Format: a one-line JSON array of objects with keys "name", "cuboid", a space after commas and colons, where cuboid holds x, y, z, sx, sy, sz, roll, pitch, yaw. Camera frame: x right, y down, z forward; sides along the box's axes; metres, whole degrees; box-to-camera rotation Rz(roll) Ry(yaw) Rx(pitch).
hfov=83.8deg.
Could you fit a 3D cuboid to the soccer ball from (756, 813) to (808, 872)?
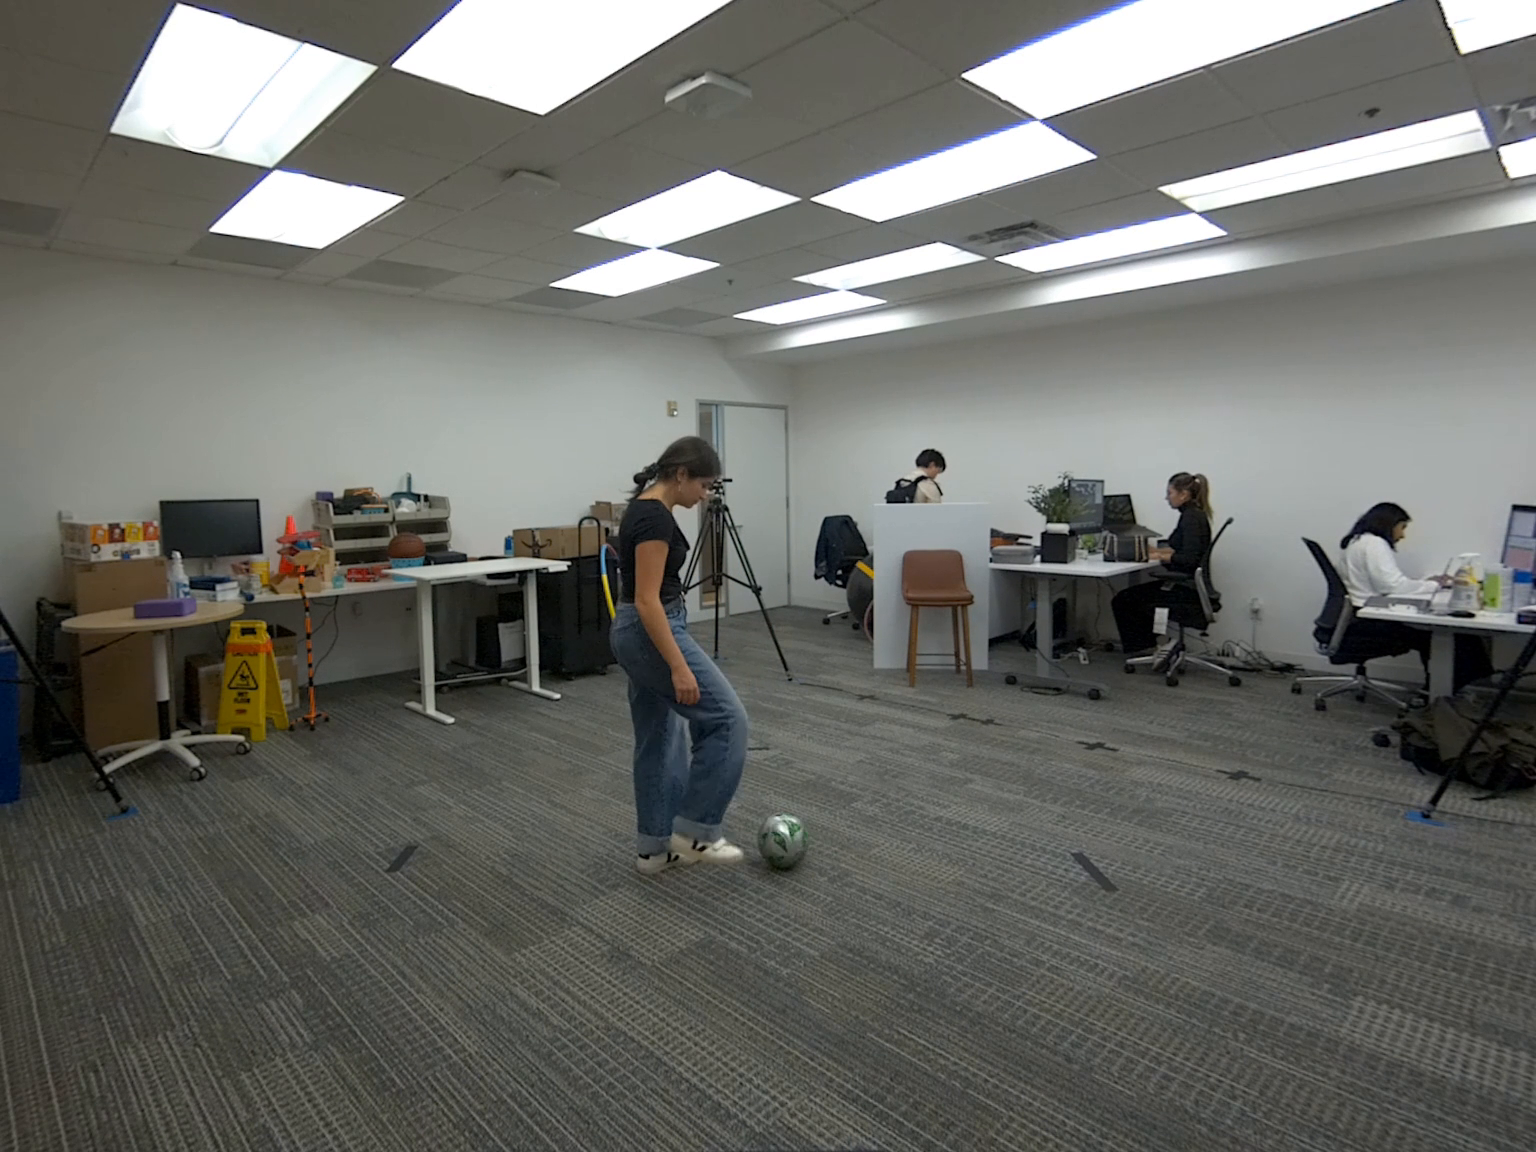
[{"name": "soccer ball", "cuboid": [0.052, 0.944, 3.076, 0.187, 0.187, 0.188, -1, 5, -2]}]
